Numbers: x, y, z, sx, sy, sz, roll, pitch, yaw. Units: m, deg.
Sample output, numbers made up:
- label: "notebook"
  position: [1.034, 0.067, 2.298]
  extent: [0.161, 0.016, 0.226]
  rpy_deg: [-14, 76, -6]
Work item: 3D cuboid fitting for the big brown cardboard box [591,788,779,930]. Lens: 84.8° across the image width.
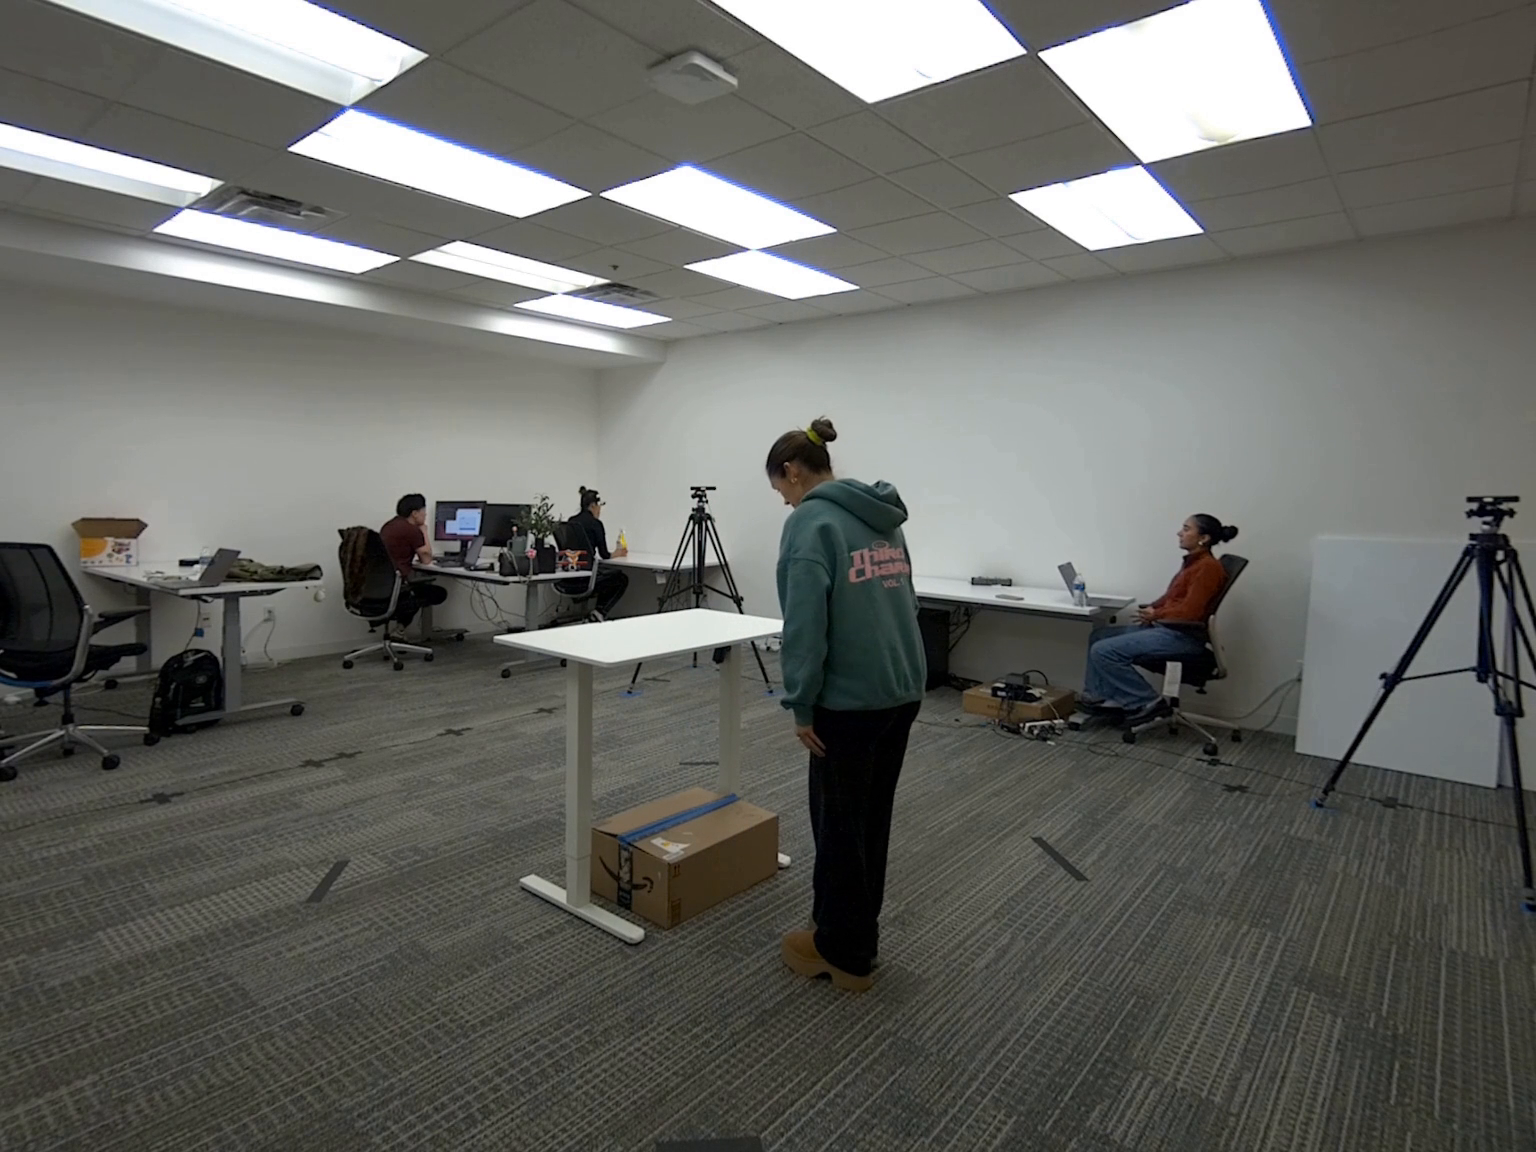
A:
- label: "big brown cardboard box"
  position: [-0.305, 0.963, 2.992]
  extent: [0.432, 0.232, 0.571]
  rpy_deg: [5, 6, 39]
